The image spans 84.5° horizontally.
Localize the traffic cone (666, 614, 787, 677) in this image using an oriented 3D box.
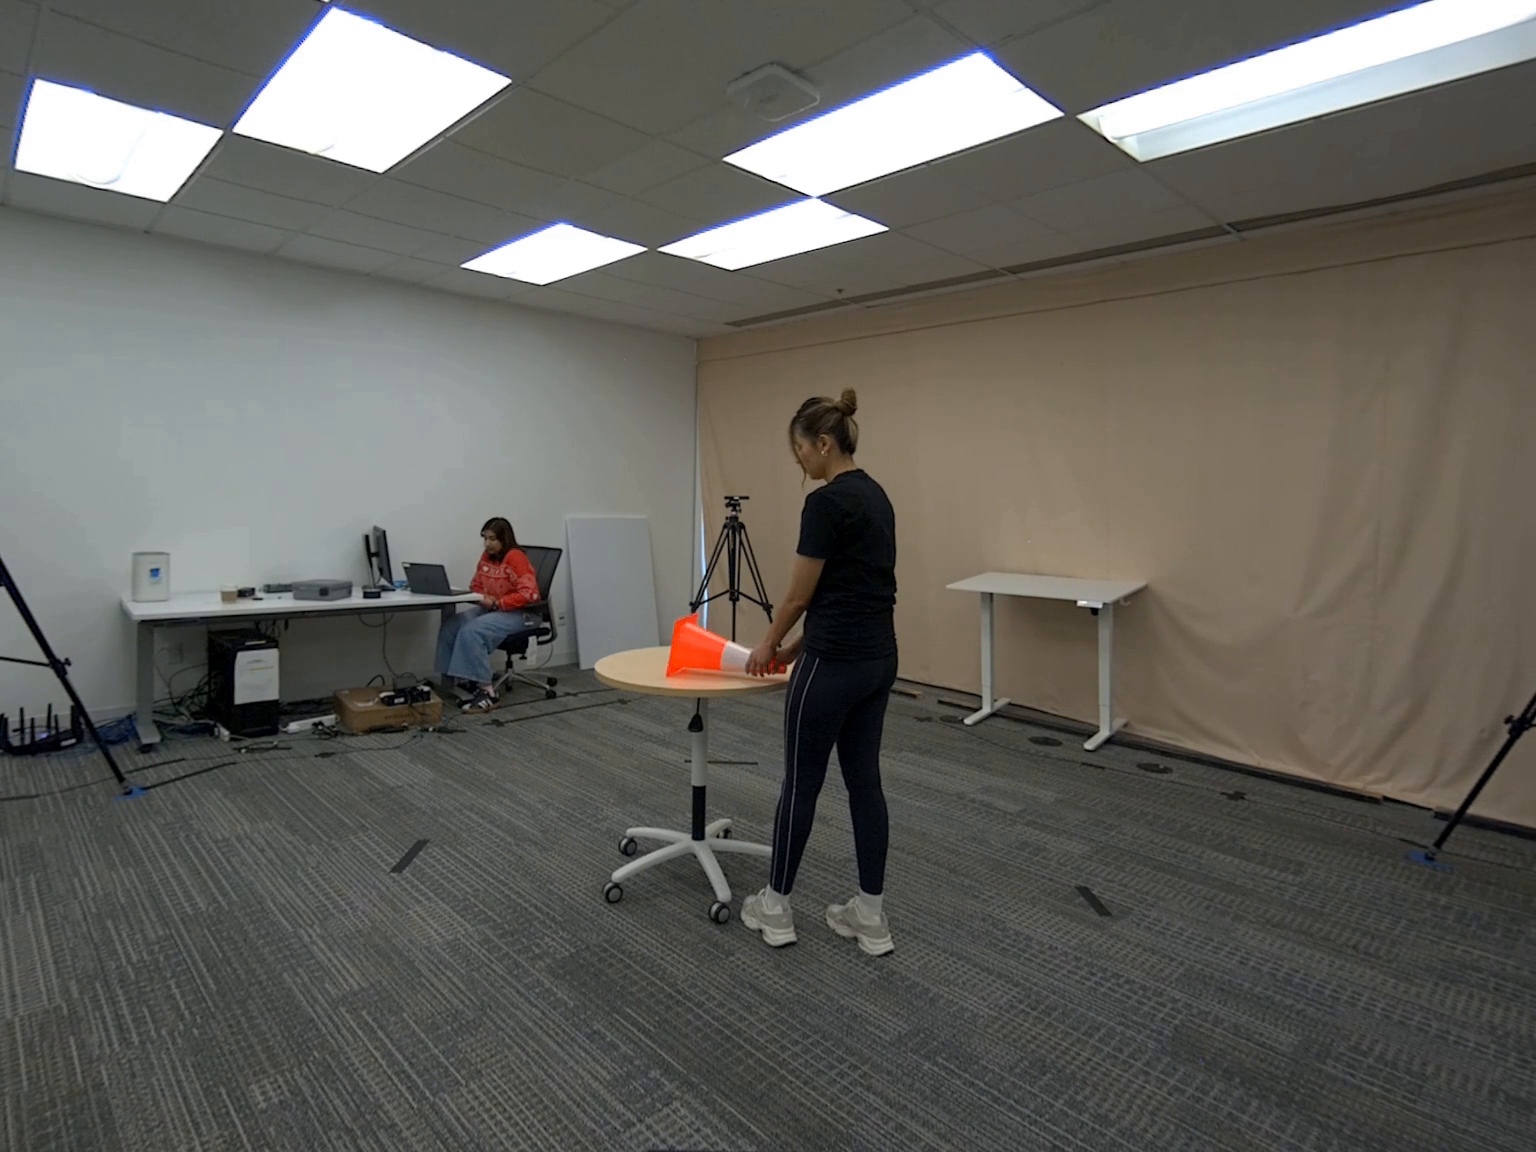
[{"bbox_3d":[-0.128,0.275,2.847,0.390,0.202,0.203,12,9,16],"label":"traffic cone"}]
